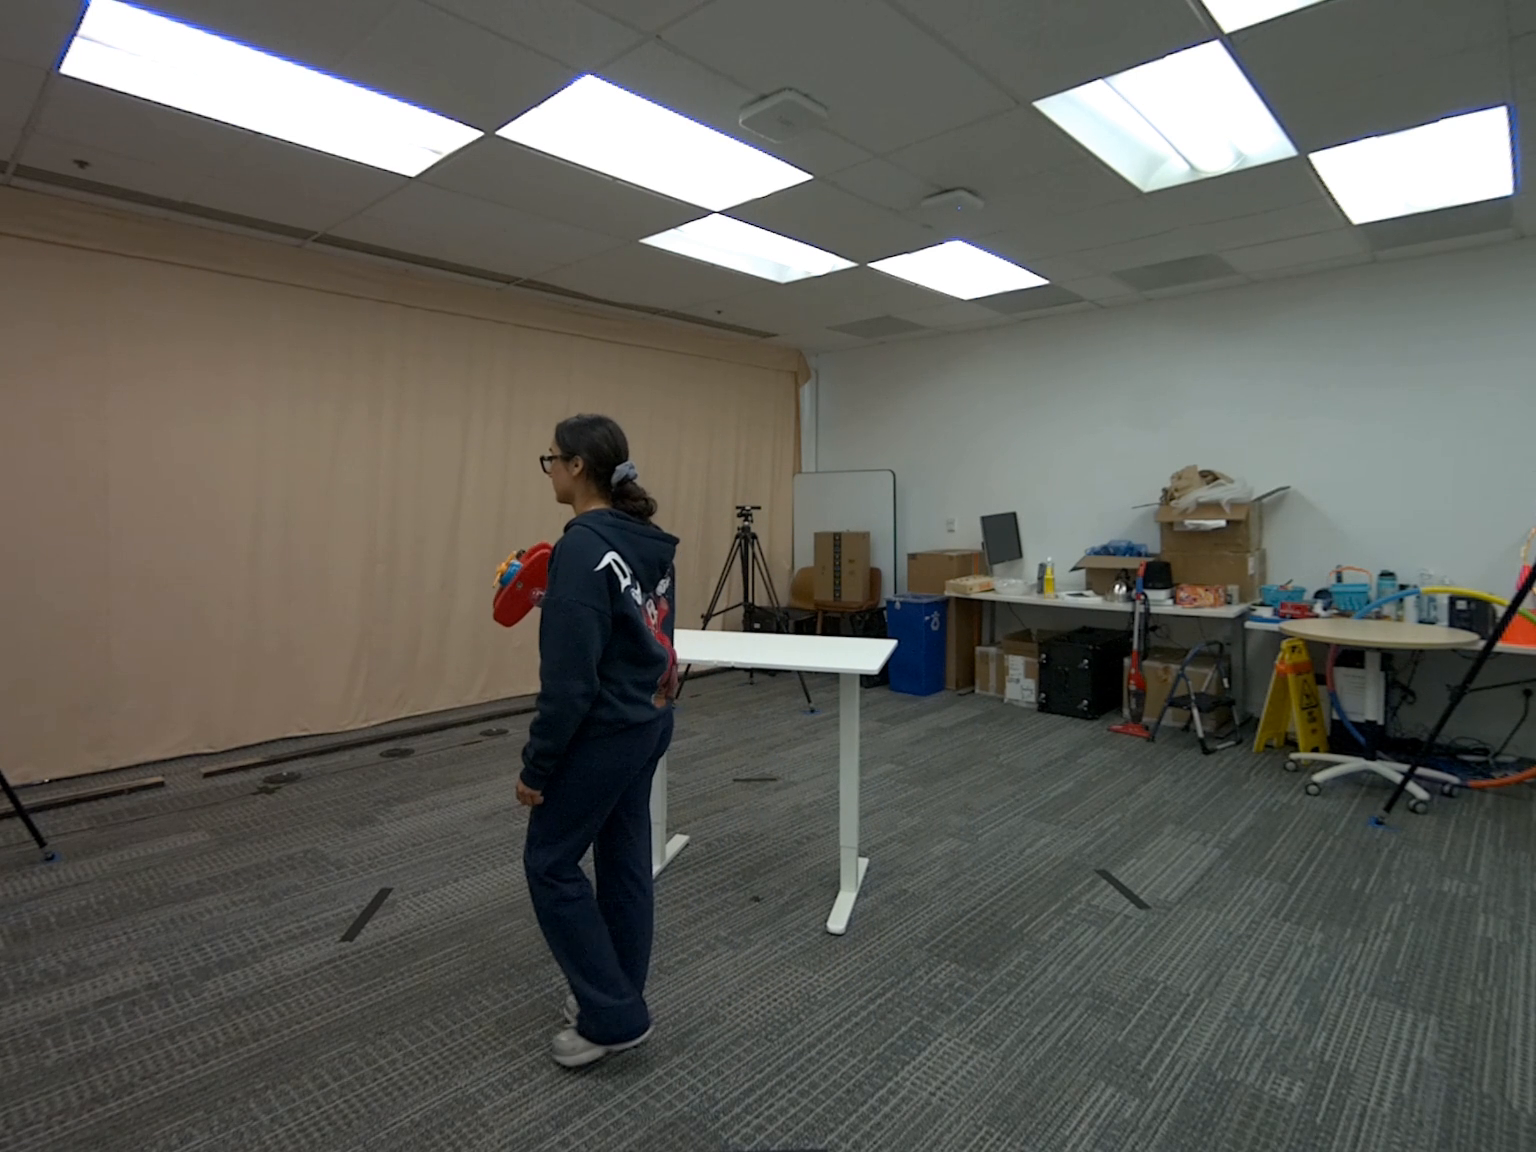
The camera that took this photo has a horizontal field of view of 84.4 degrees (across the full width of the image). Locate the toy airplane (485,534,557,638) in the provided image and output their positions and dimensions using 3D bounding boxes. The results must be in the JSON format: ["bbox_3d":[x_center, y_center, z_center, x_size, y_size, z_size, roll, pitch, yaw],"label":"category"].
[{"bbox_3d":[-0.653,0.033,2.442,0.258,0.250,0.158,9,10,-6],"label":"toy airplane"}]
